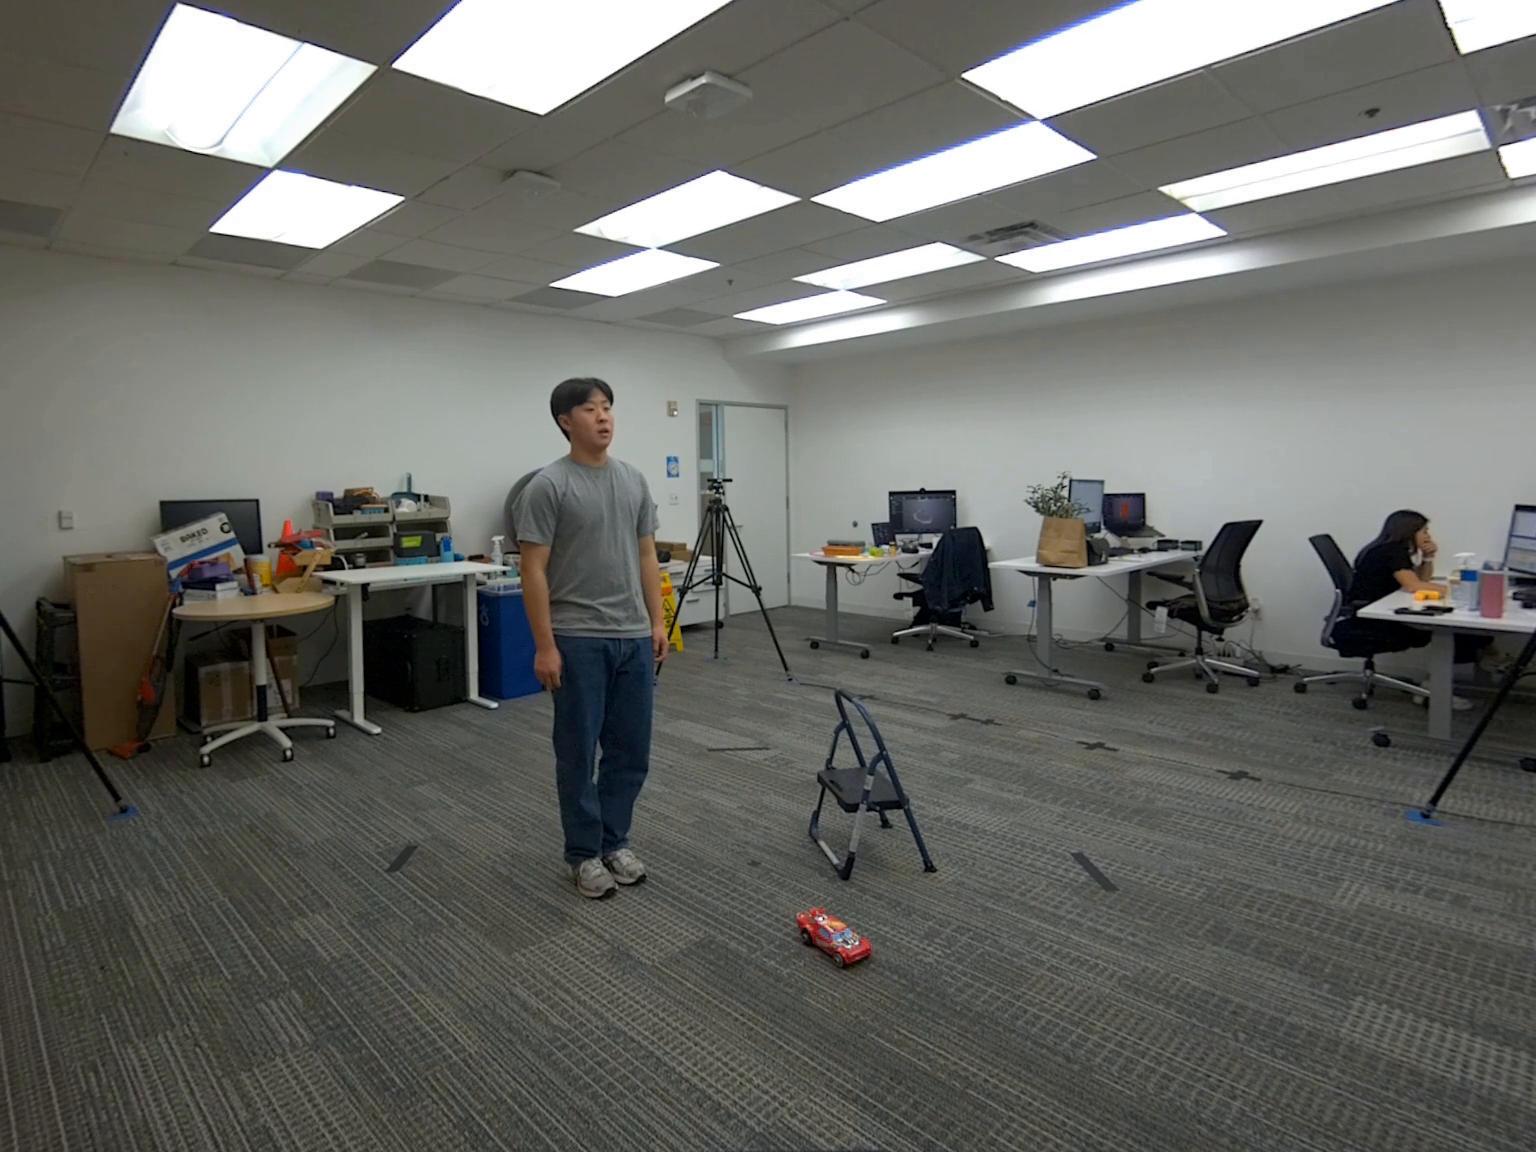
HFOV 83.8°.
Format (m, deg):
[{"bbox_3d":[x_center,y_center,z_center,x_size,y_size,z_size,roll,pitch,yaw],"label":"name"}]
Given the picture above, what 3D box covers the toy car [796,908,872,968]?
[{"bbox_3d":[0.195,1.075,2.542,0.127,0.082,0.264,-6,19,-34],"label":"toy car"}]
